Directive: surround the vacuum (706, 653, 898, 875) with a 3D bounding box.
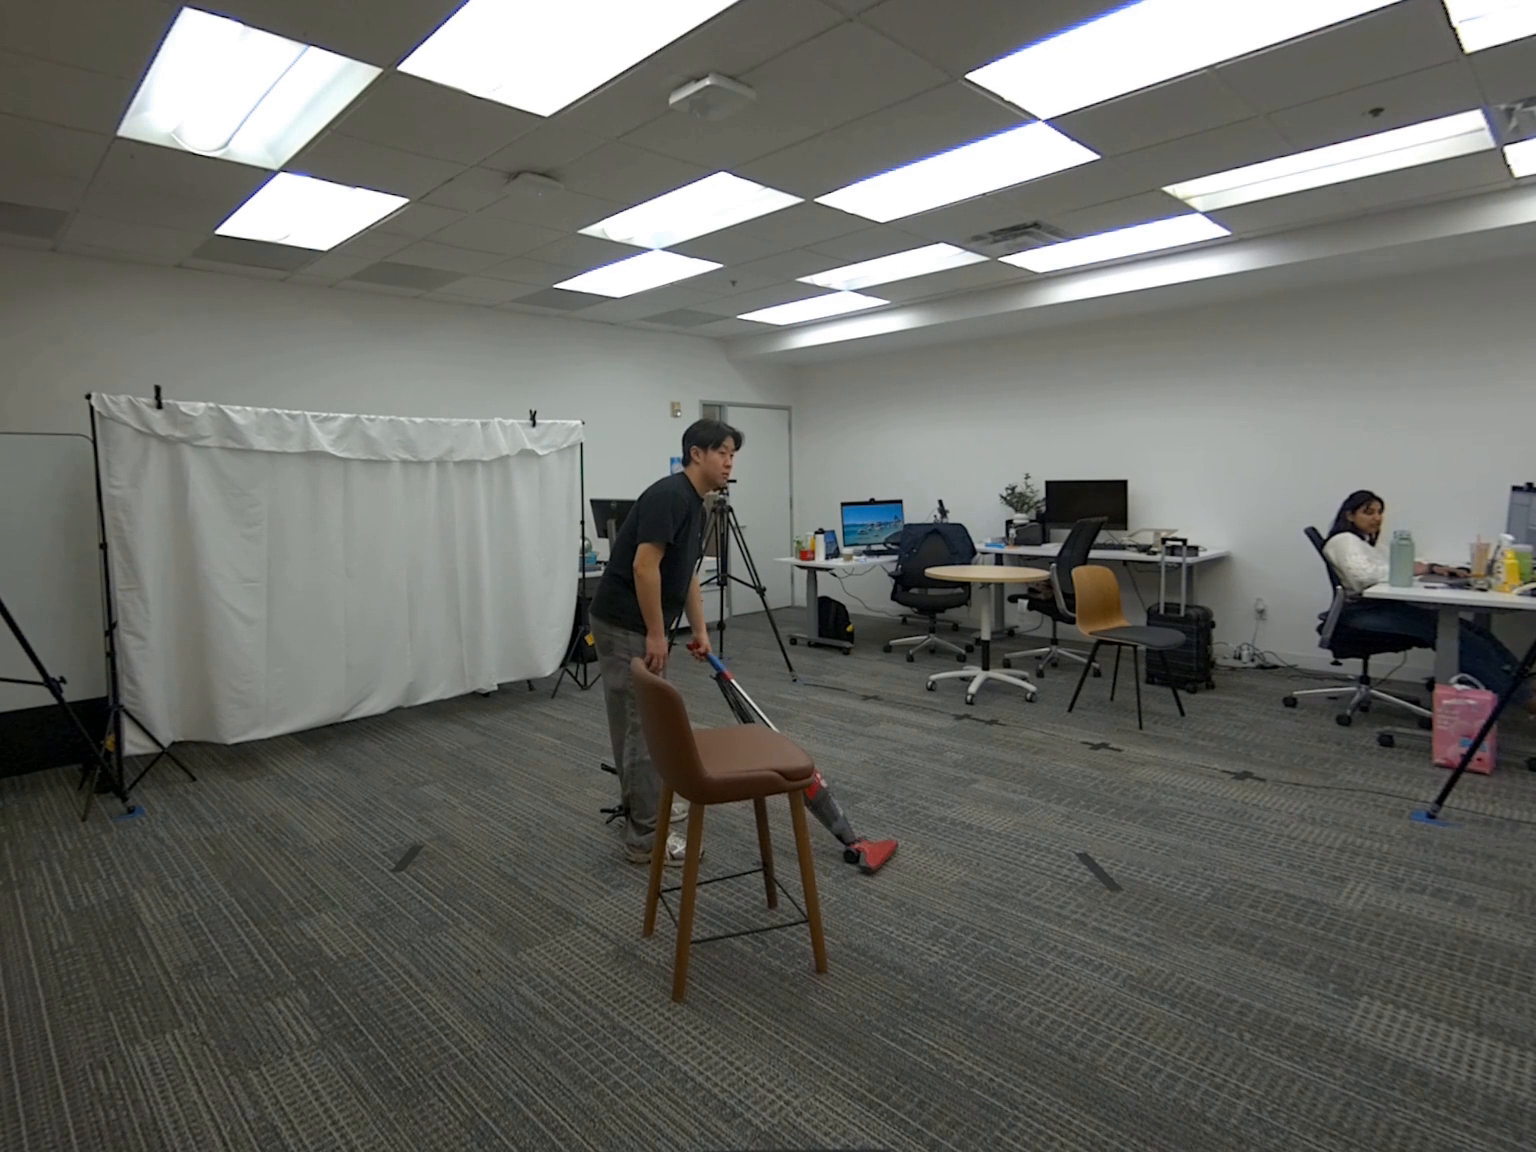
[{"bbox_3d":[0.030,0.657,3.309,1.077,0.144,0.246,46,14,20],"label":"vacuum"}]
